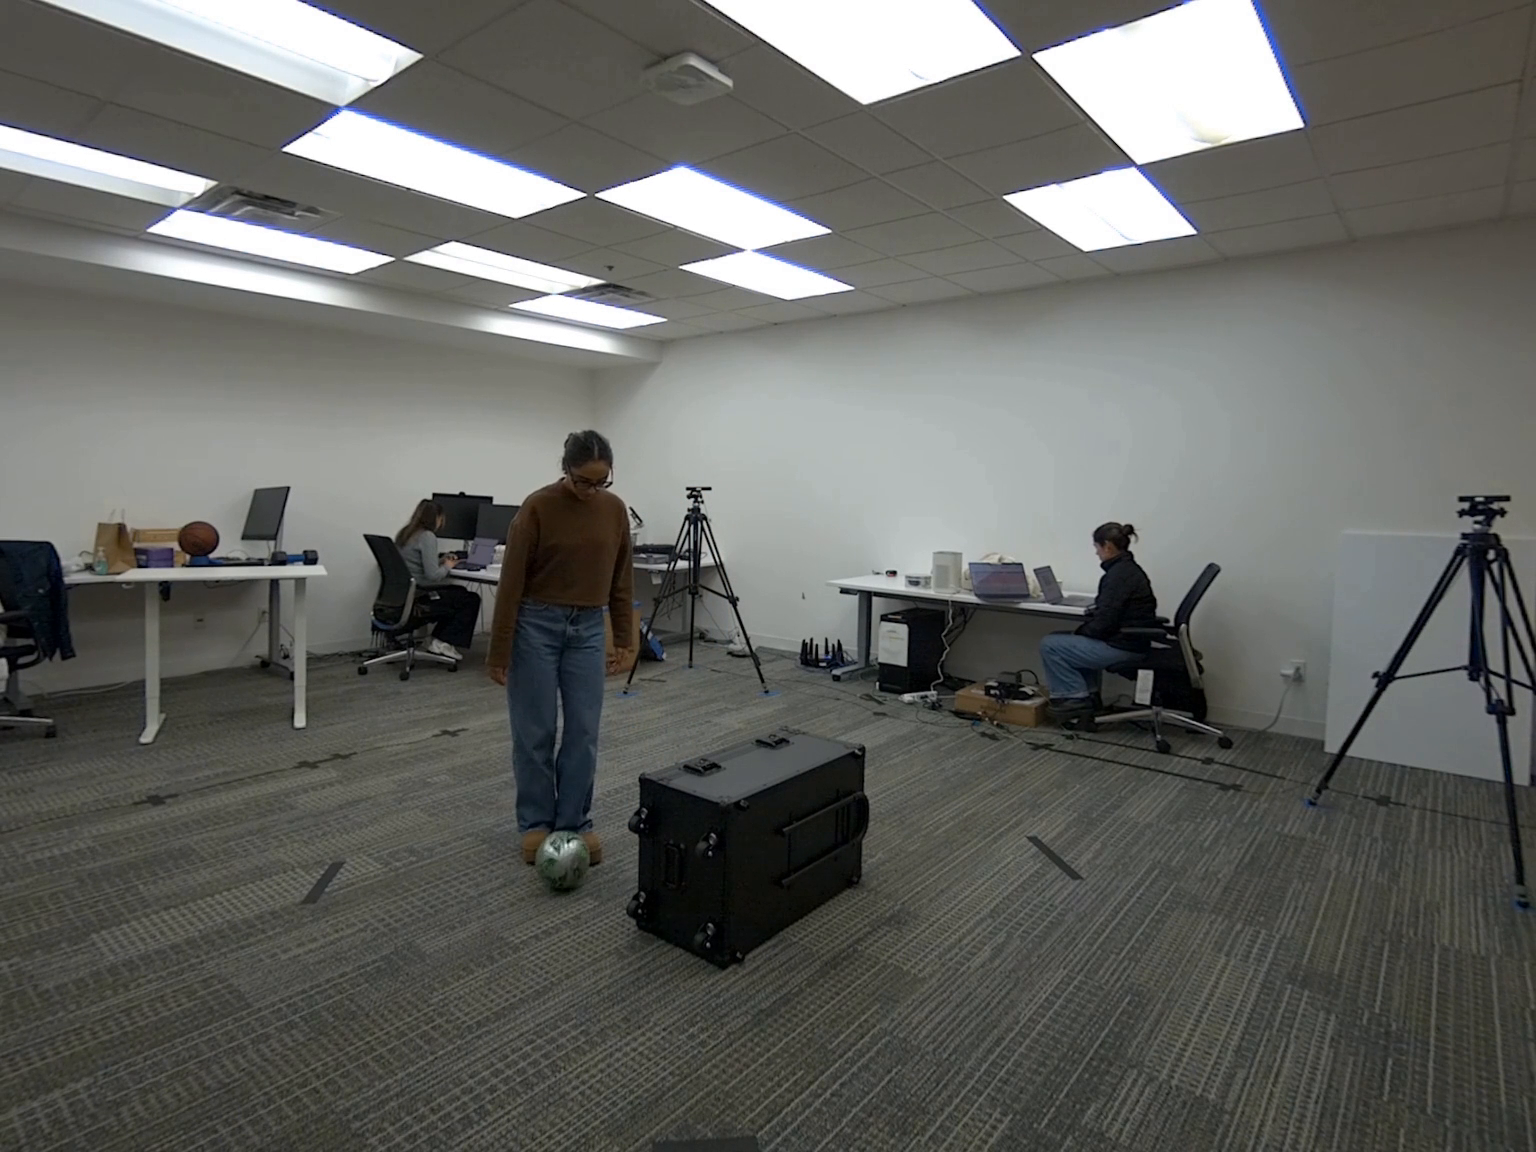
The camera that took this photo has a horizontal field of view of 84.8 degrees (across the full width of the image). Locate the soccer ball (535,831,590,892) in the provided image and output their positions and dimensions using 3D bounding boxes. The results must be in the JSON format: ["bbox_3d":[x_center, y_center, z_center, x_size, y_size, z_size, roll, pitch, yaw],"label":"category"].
[{"bbox_3d":[-0.723,0.979,2.953,0.187,0.187,0.188,1,4,-2],"label":"soccer ball"}]
